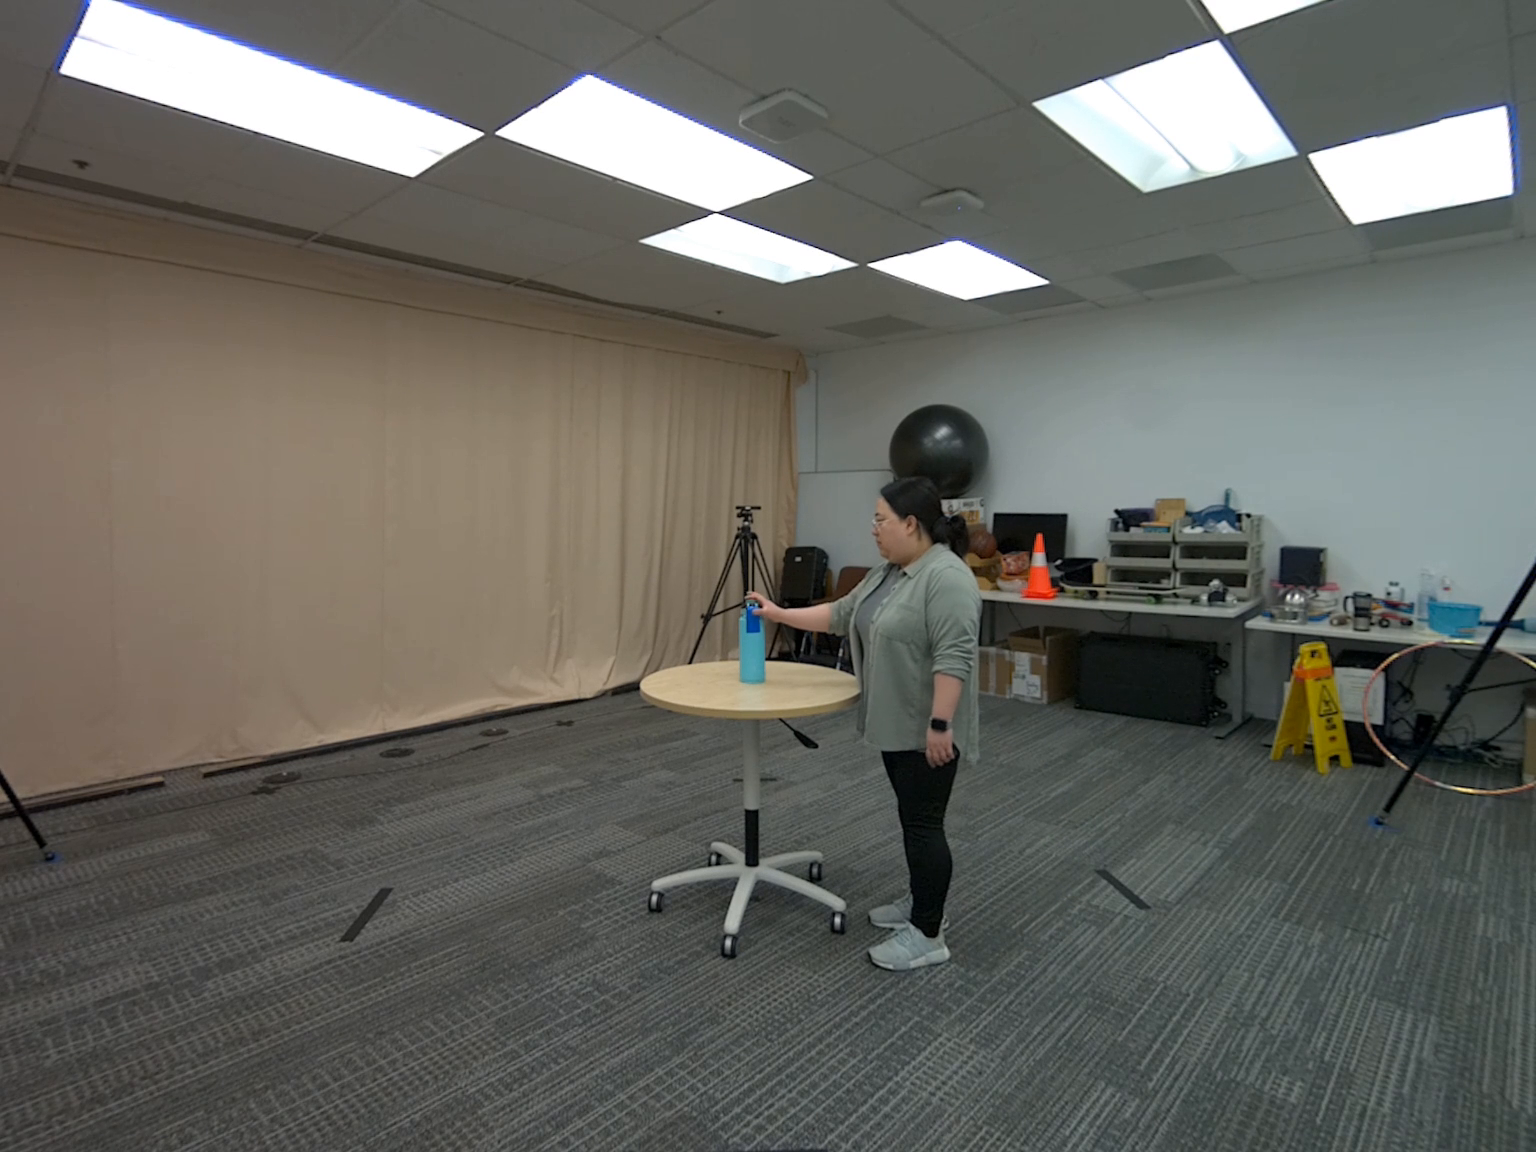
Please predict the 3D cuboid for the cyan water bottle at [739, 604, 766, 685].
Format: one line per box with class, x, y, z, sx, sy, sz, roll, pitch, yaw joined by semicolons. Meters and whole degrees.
cyan water bottle;-0.049;0.229;2.928;0.092;0.283;0.092;-1;3;-2
